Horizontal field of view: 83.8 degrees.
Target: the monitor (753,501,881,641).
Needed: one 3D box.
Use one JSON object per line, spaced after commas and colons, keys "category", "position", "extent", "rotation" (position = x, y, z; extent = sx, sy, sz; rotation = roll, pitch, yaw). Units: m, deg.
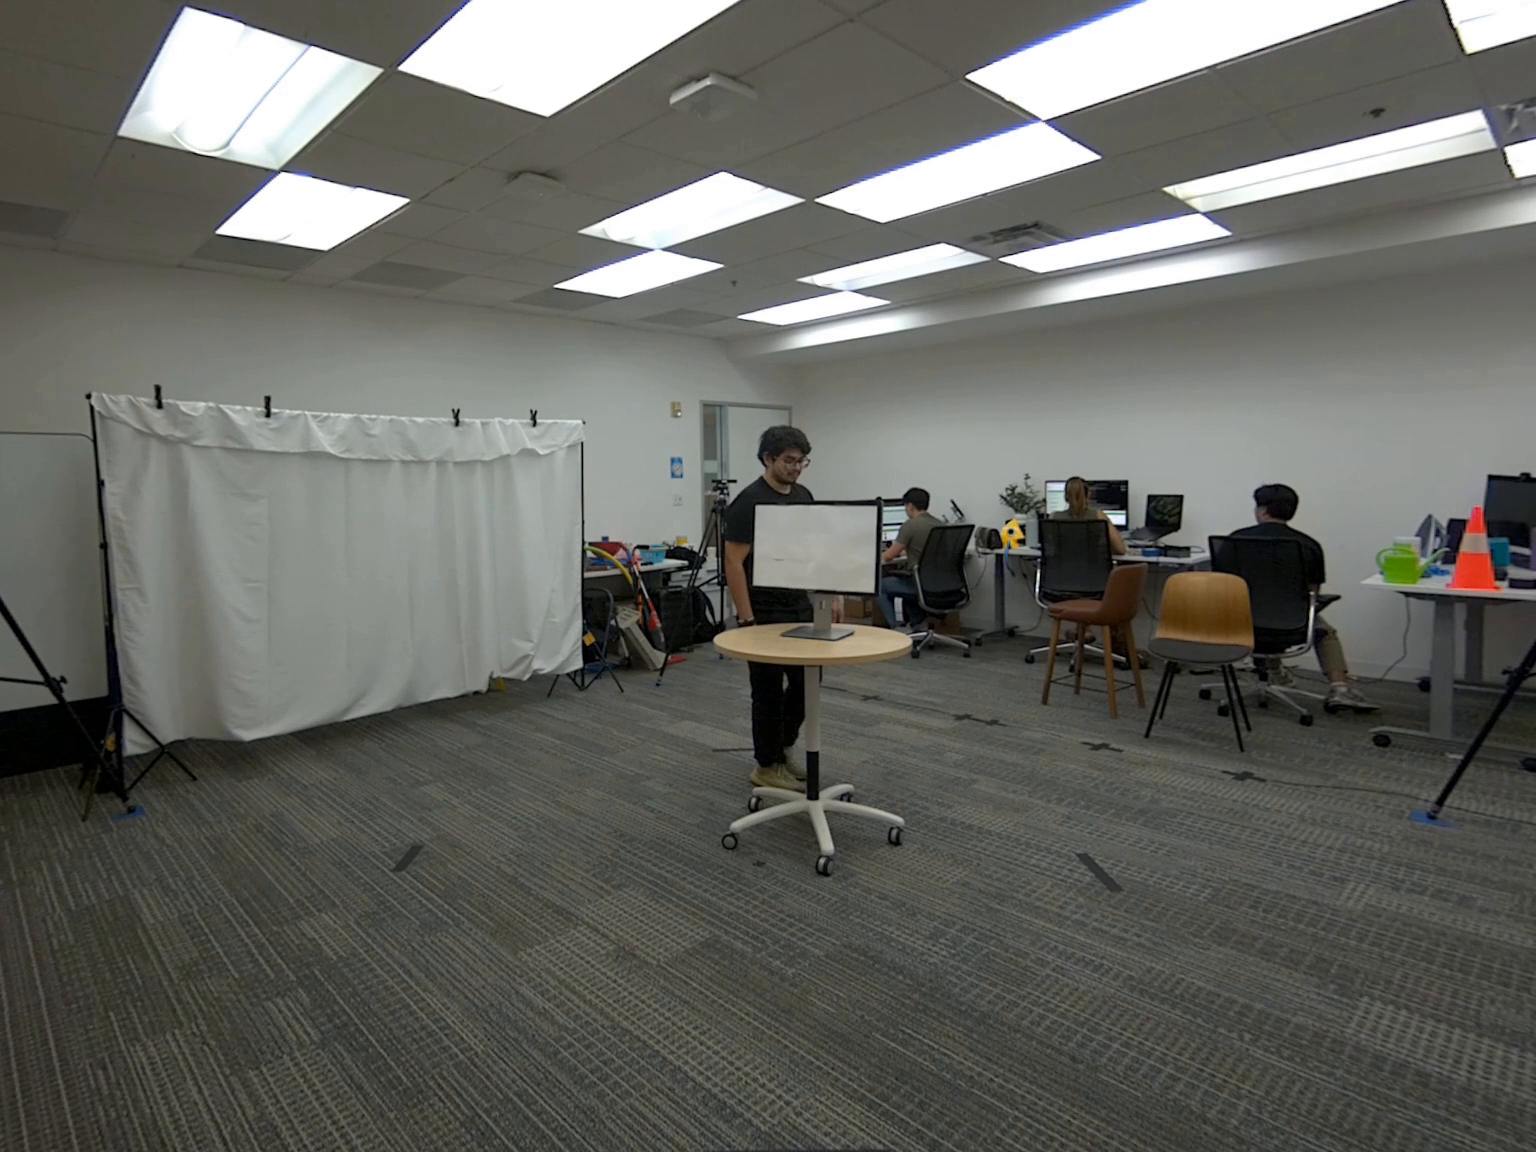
{"category": "monitor", "position": [0.213, -0.027, 3.414], "extent": [0.580, 0.553, 0.205], "rotation": [2, 2, 31]}
